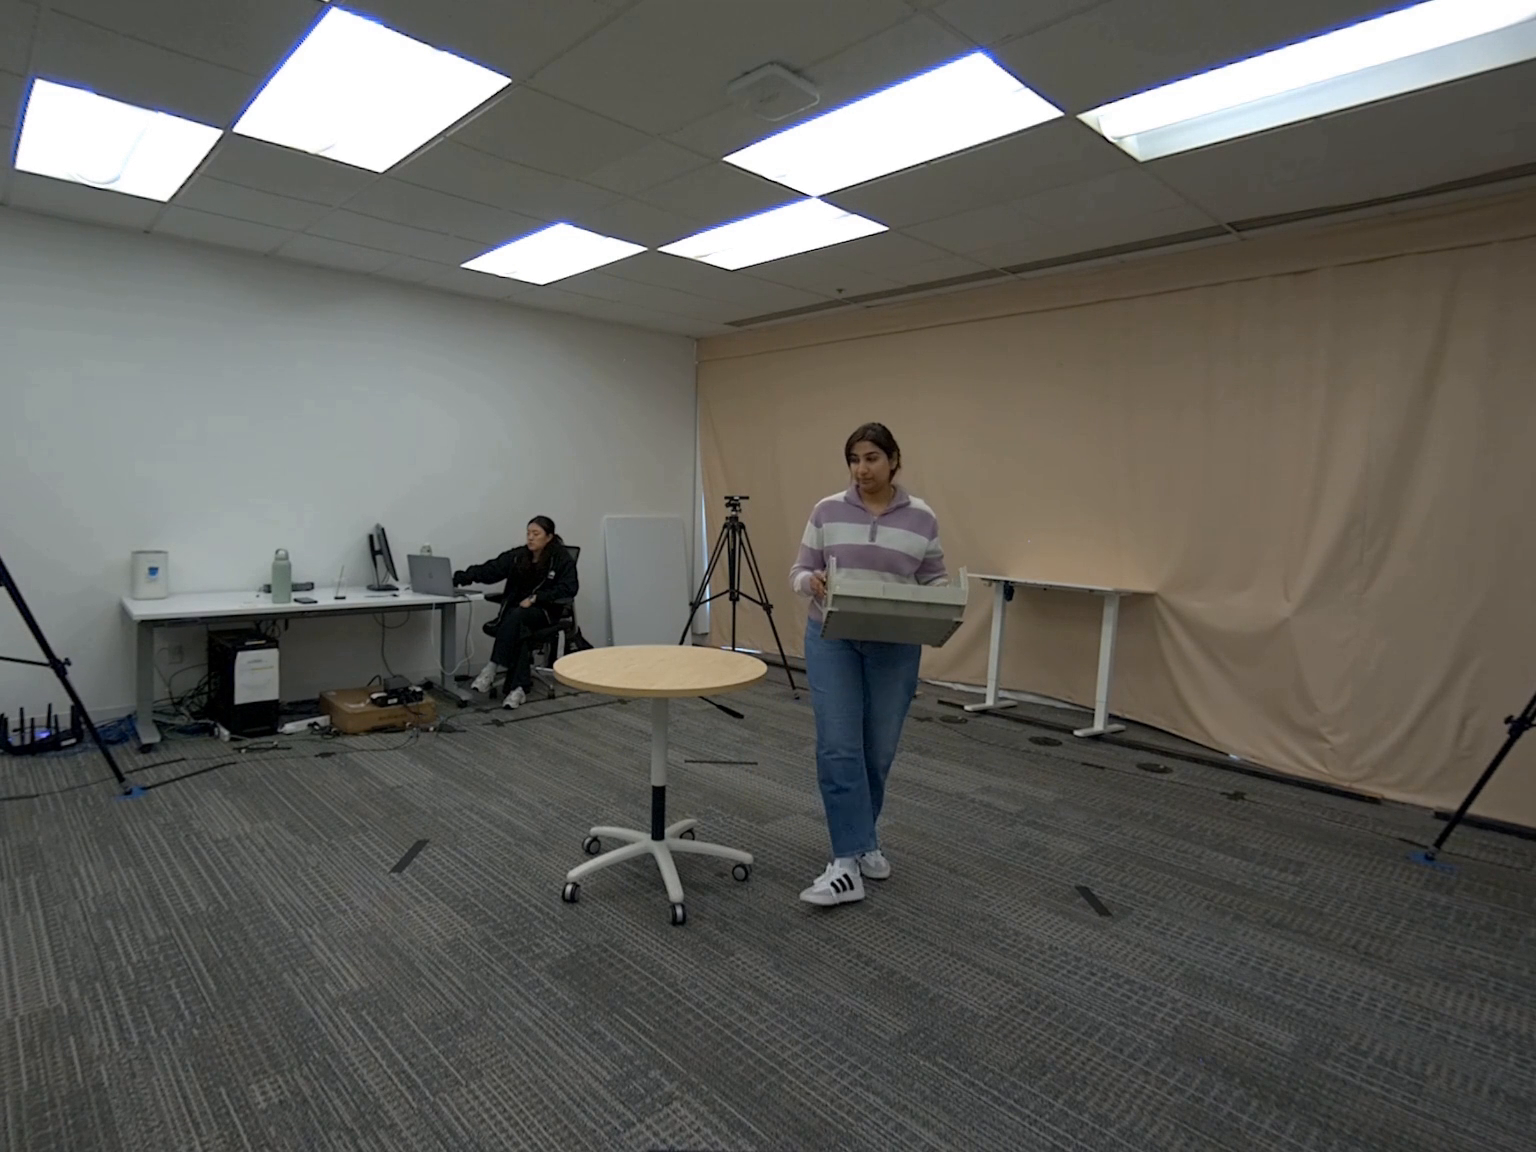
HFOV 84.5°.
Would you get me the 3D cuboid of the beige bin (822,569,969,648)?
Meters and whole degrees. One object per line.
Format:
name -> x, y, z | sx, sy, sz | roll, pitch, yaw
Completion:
beige bin -> 0.382, 0.091, 2.710 | 0.423, 0.192, 0.371 | 5, -23, 1
